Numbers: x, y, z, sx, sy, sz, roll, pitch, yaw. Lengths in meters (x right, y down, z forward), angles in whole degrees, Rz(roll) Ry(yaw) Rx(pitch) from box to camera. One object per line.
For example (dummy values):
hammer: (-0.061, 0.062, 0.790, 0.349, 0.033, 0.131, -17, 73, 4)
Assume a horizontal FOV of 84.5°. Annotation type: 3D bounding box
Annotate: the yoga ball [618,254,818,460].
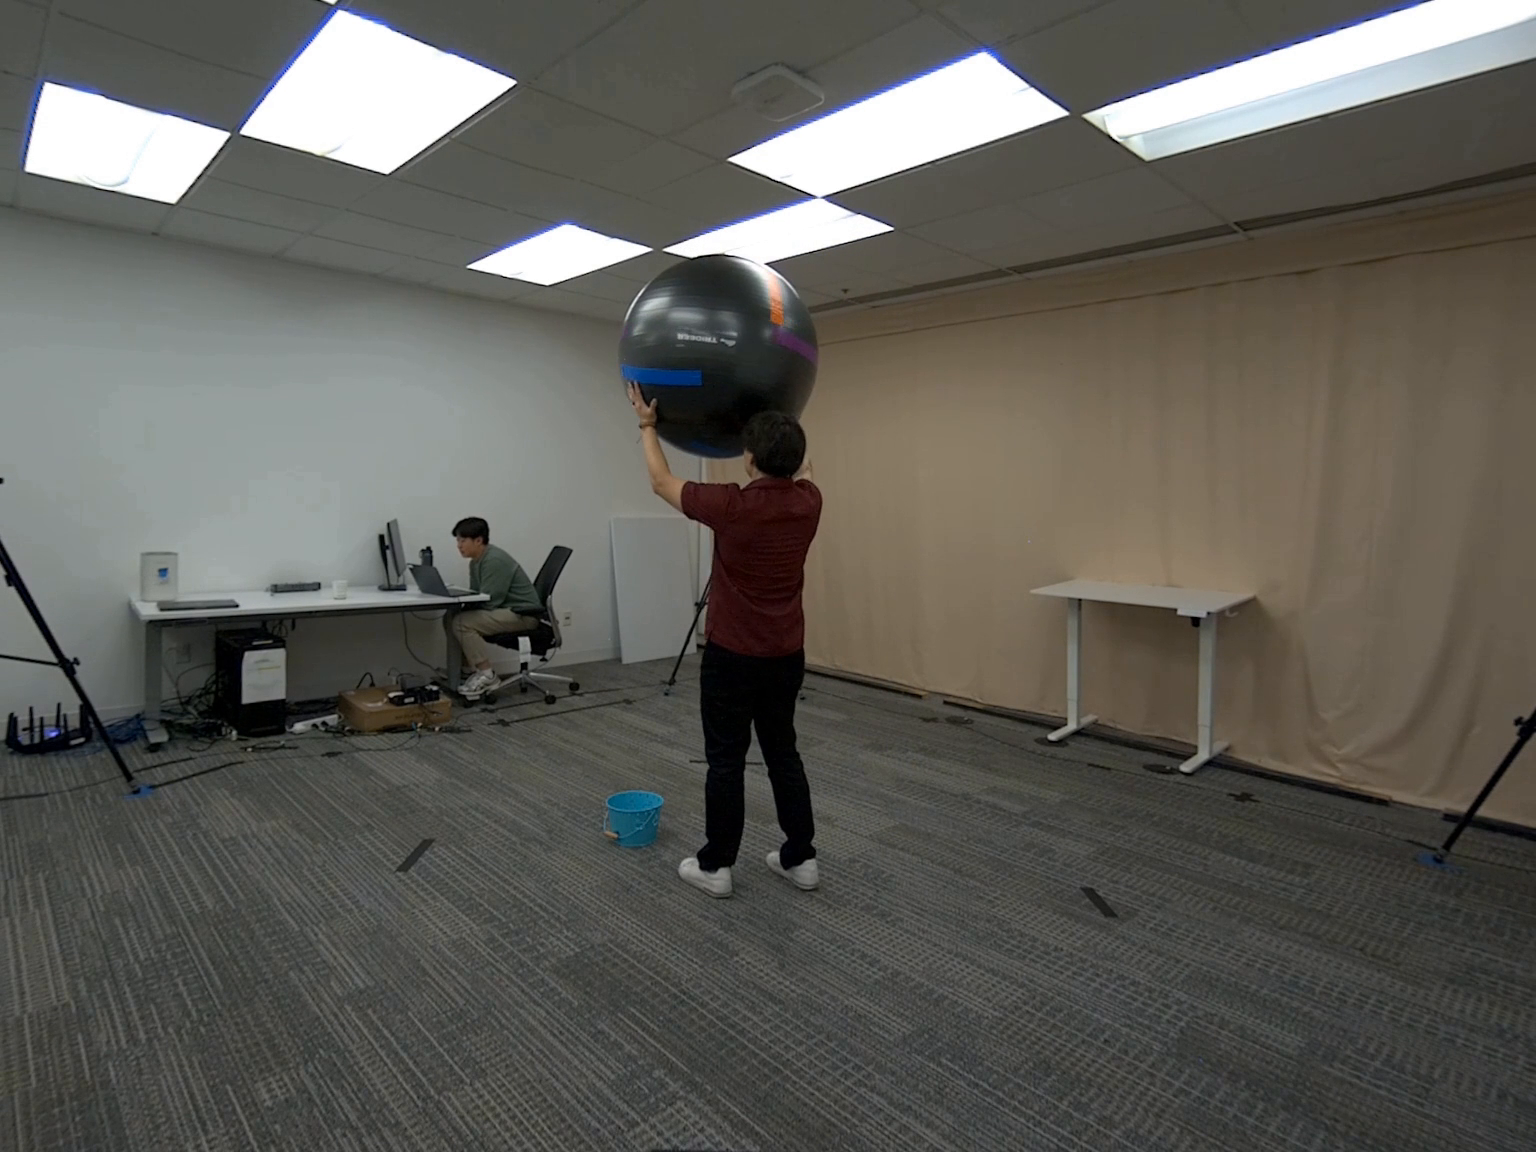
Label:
yoga ball: (-0.194, -0.826, 3.206, 0.757, 0.756, 0.761, 1, 4, -1)
